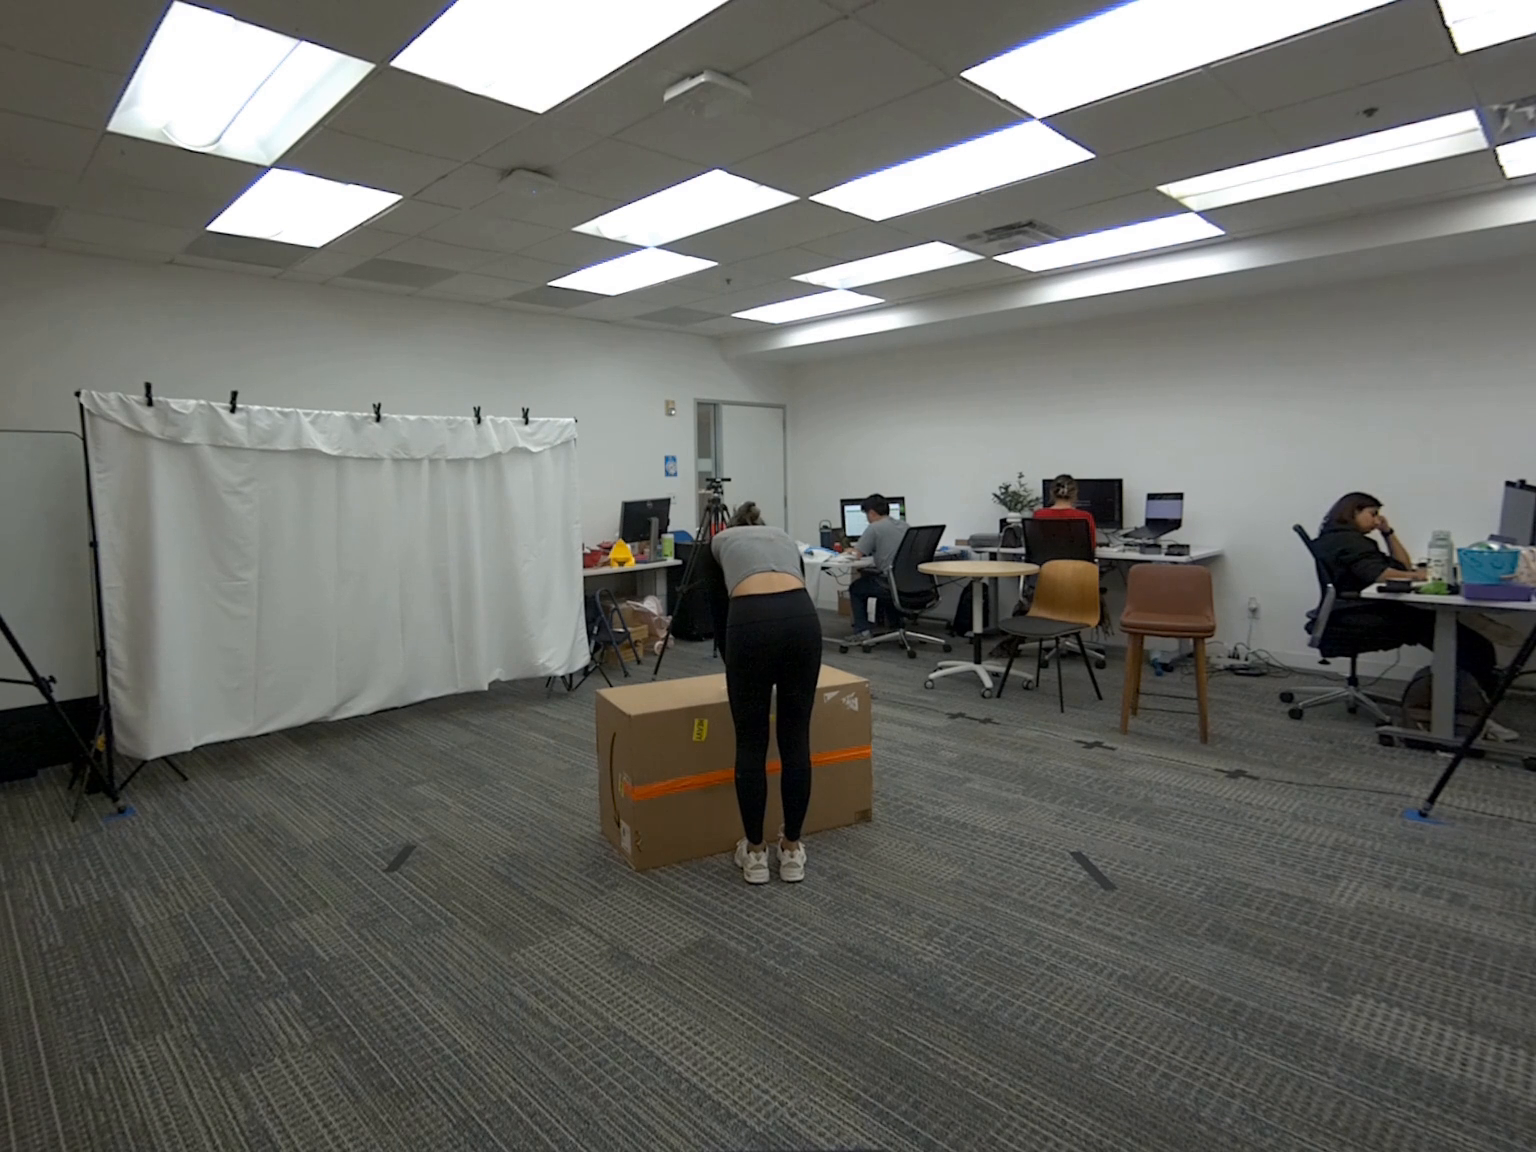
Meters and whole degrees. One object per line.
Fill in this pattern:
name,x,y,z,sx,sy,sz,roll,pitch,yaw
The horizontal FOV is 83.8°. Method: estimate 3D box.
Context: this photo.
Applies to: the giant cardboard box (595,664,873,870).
giant cardboard box,-0.131,0.719,3.429,1.005,0.575,0.437,-4,5,-25
